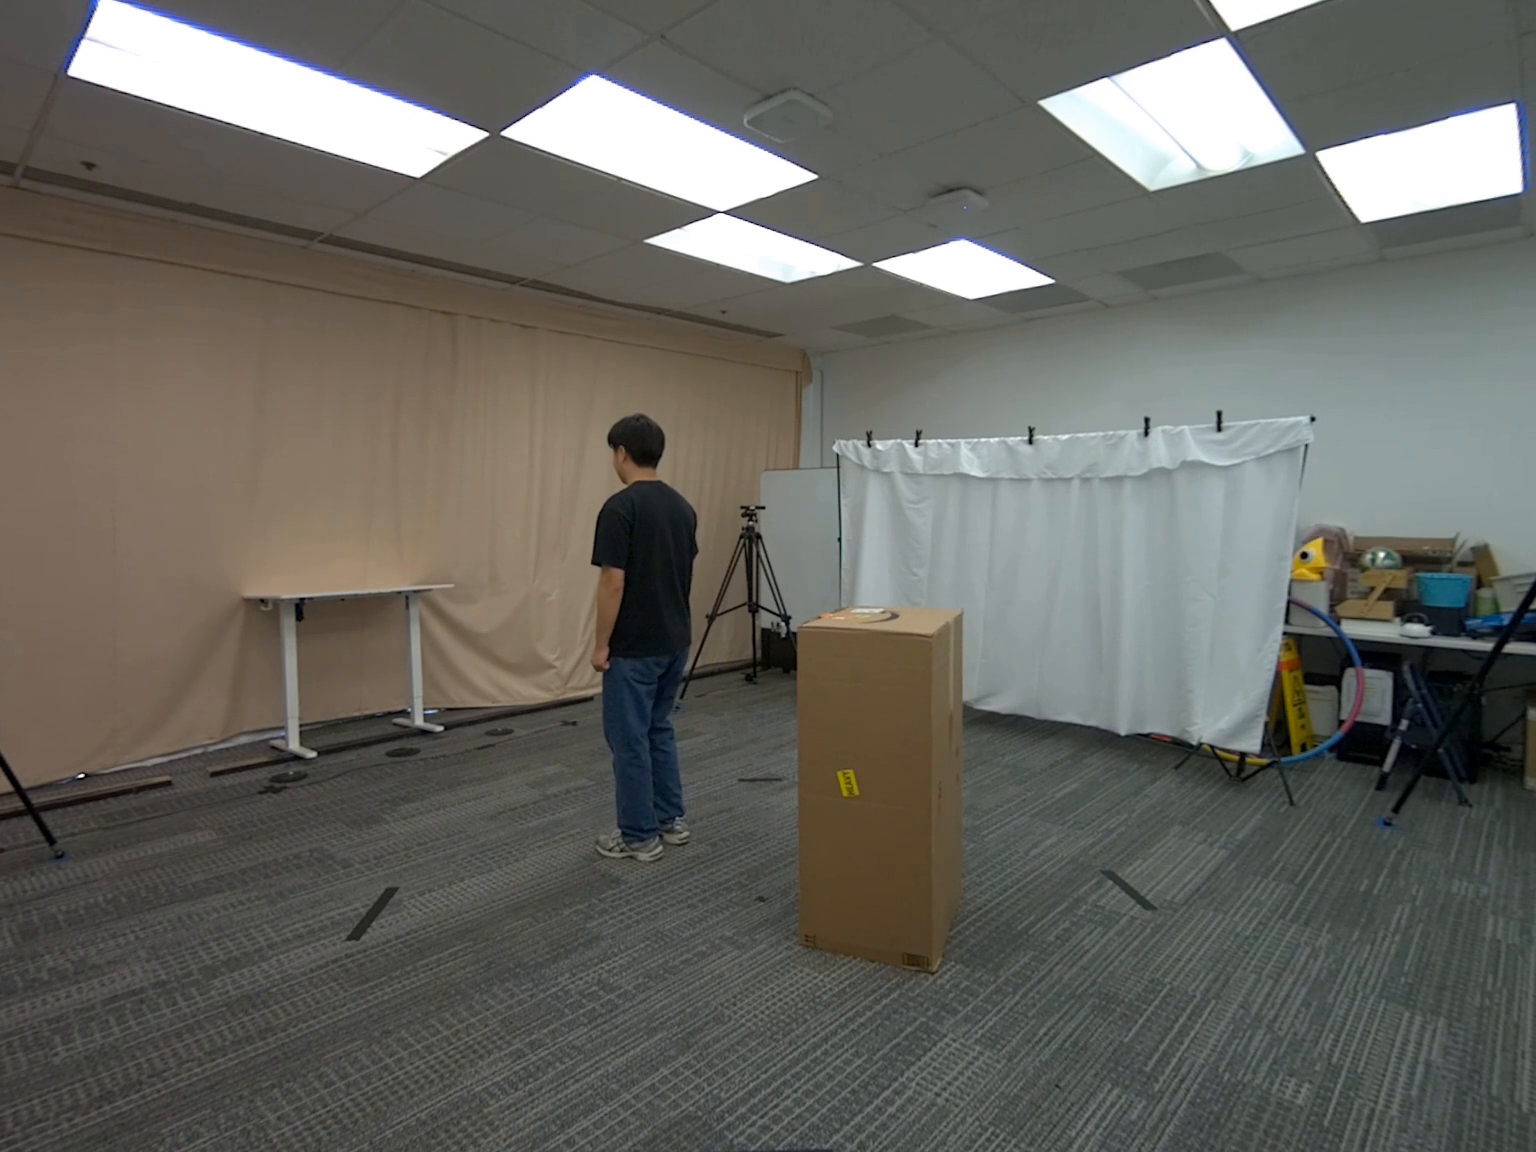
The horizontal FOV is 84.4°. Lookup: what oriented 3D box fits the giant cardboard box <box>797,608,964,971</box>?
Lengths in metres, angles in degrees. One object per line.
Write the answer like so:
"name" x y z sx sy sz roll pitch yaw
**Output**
"giant cardboard box" 0.395 0.645 2.816 0.458 1.025 0.570 0 3 25
